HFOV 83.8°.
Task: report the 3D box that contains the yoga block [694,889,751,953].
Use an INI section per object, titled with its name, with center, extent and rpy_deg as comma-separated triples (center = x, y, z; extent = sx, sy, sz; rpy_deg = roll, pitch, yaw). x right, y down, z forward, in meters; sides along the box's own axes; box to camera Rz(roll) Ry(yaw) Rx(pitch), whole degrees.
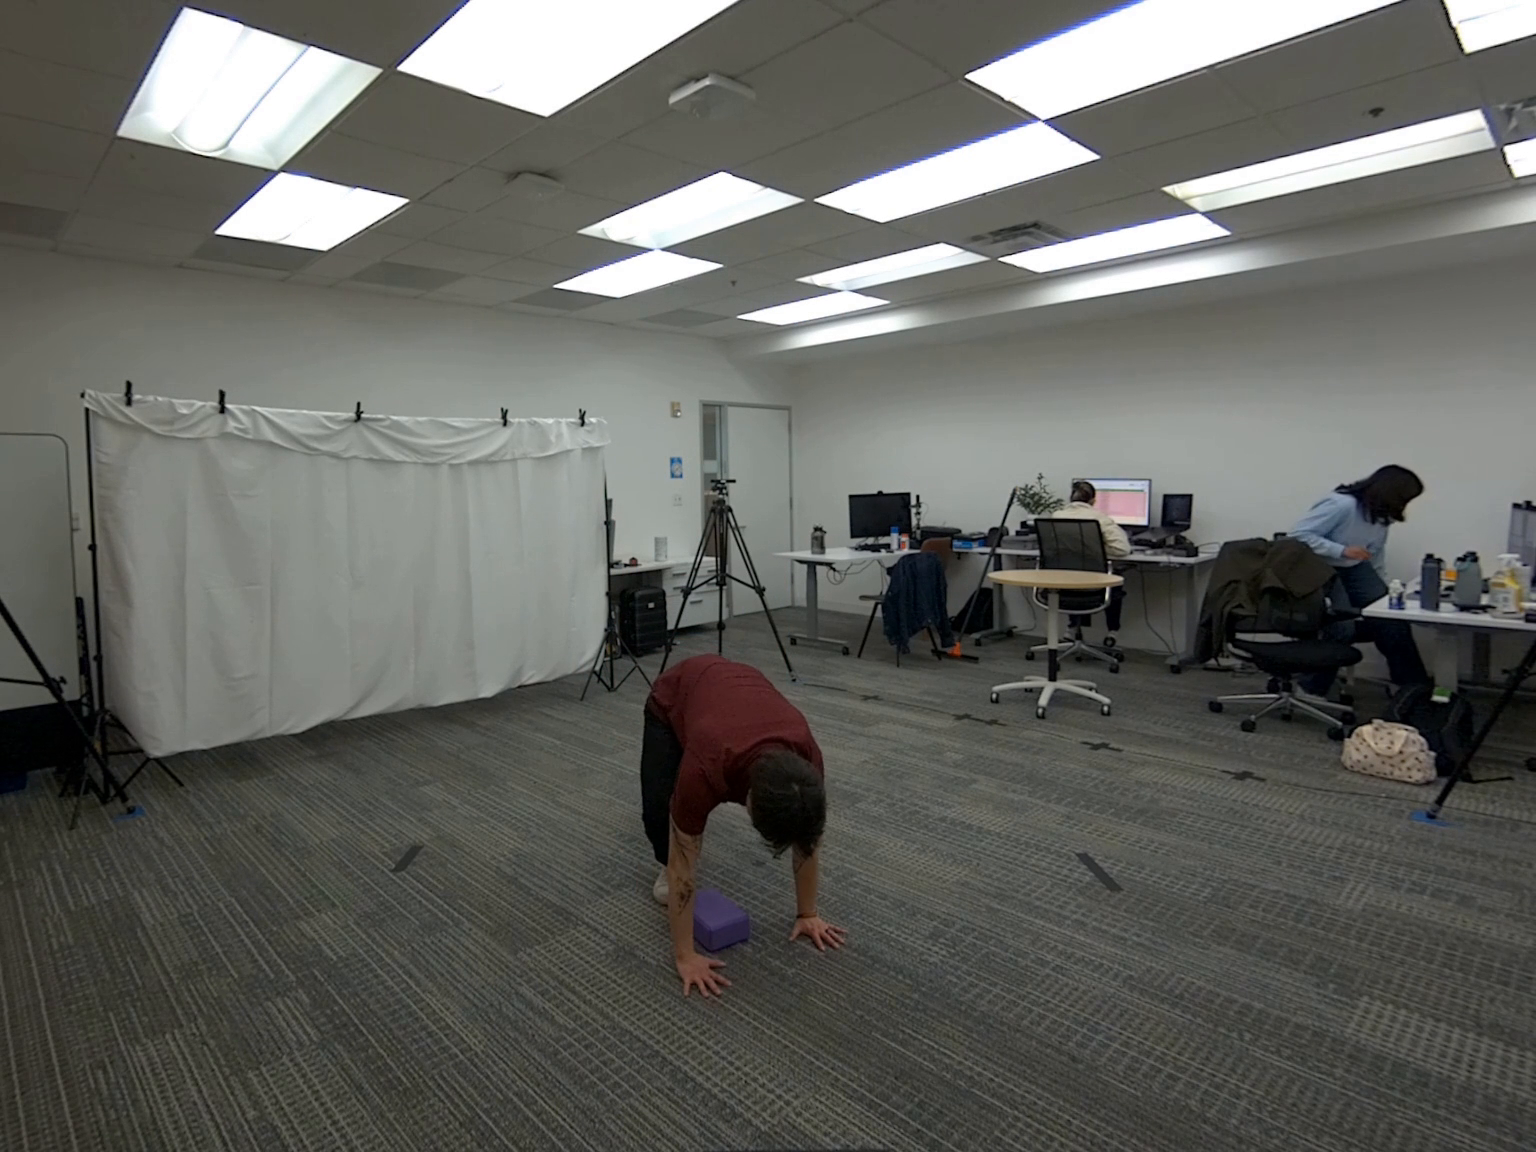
[yoga block]
center = -0.175, 1.058, 2.652
extent = 0.145, 0.076, 0.236
rpy_deg = -5, 9, -34
